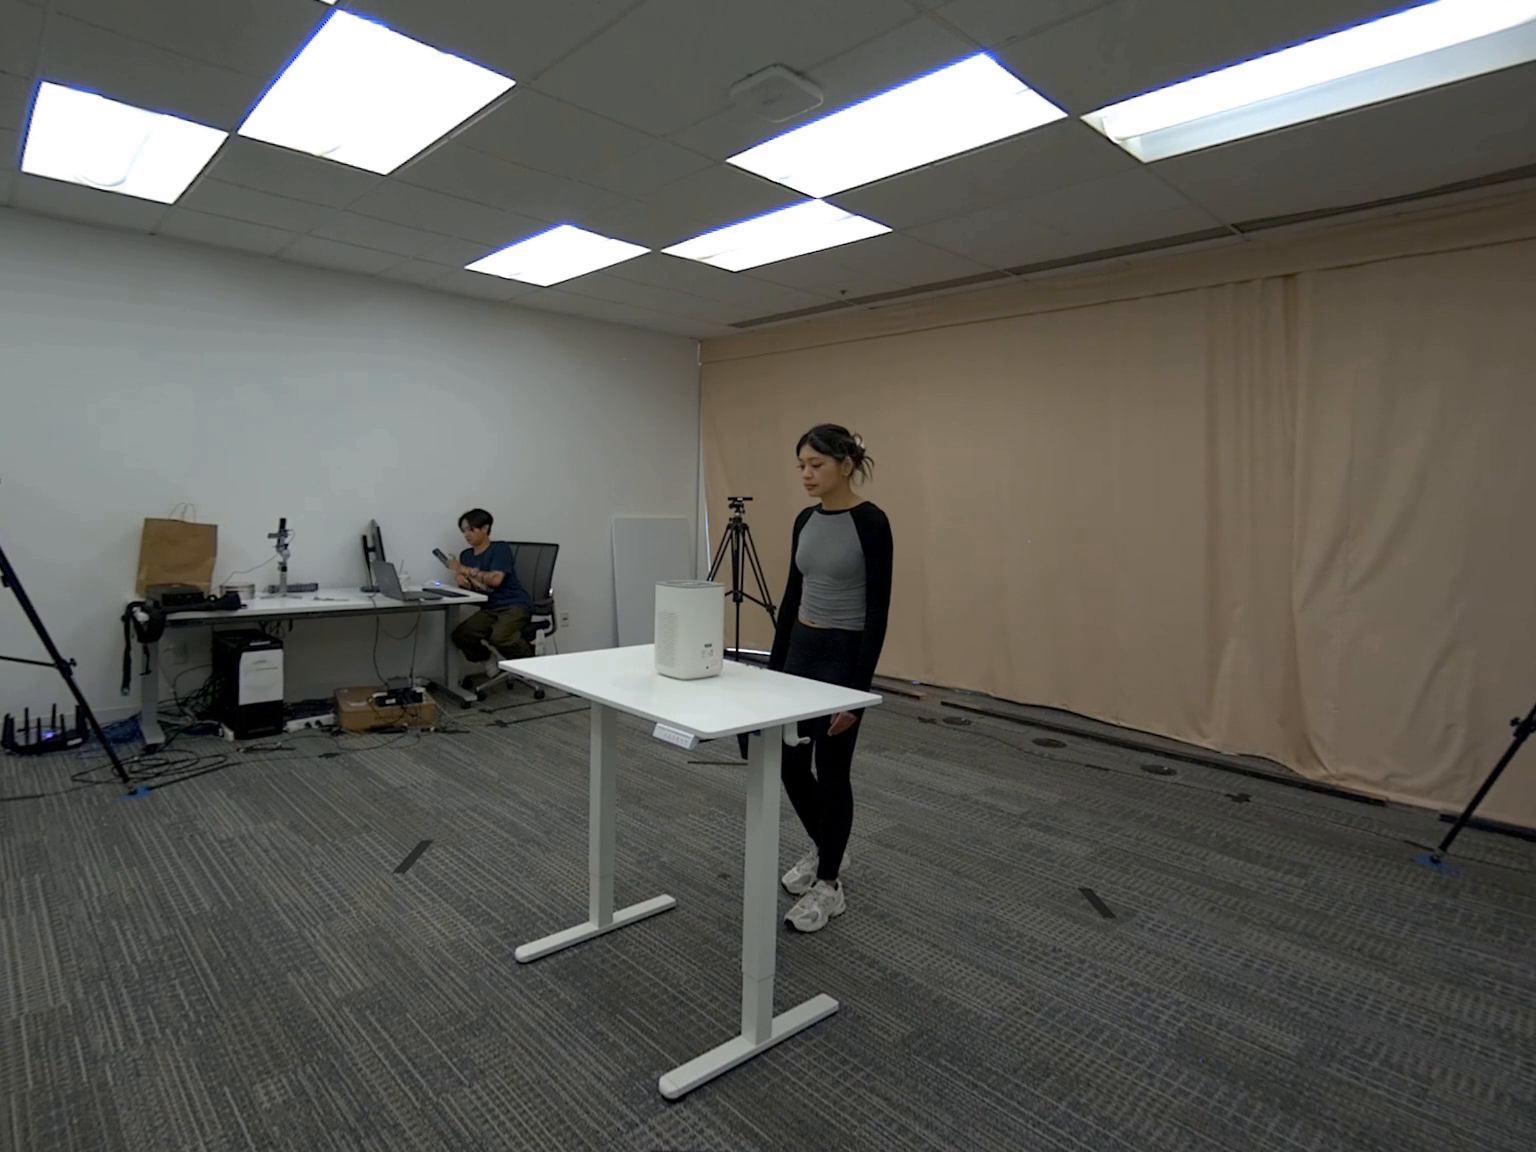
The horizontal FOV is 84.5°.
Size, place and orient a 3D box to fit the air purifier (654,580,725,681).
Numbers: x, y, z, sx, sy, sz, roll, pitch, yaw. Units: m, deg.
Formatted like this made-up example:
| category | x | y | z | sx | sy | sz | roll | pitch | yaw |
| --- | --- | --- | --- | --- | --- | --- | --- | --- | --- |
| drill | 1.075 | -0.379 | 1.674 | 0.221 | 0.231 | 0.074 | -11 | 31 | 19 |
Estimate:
| category | x | y | z | sx | sy | sz | roll | pitch | yaw |
| --- | --- | --- | --- | --- | --- | --- | --- | --- | --- |
| air purifier | -0.233 | 0.156 | 2.414 | 0.167 | 0.265 | 0.176 | -2 | 4 | -44 |
